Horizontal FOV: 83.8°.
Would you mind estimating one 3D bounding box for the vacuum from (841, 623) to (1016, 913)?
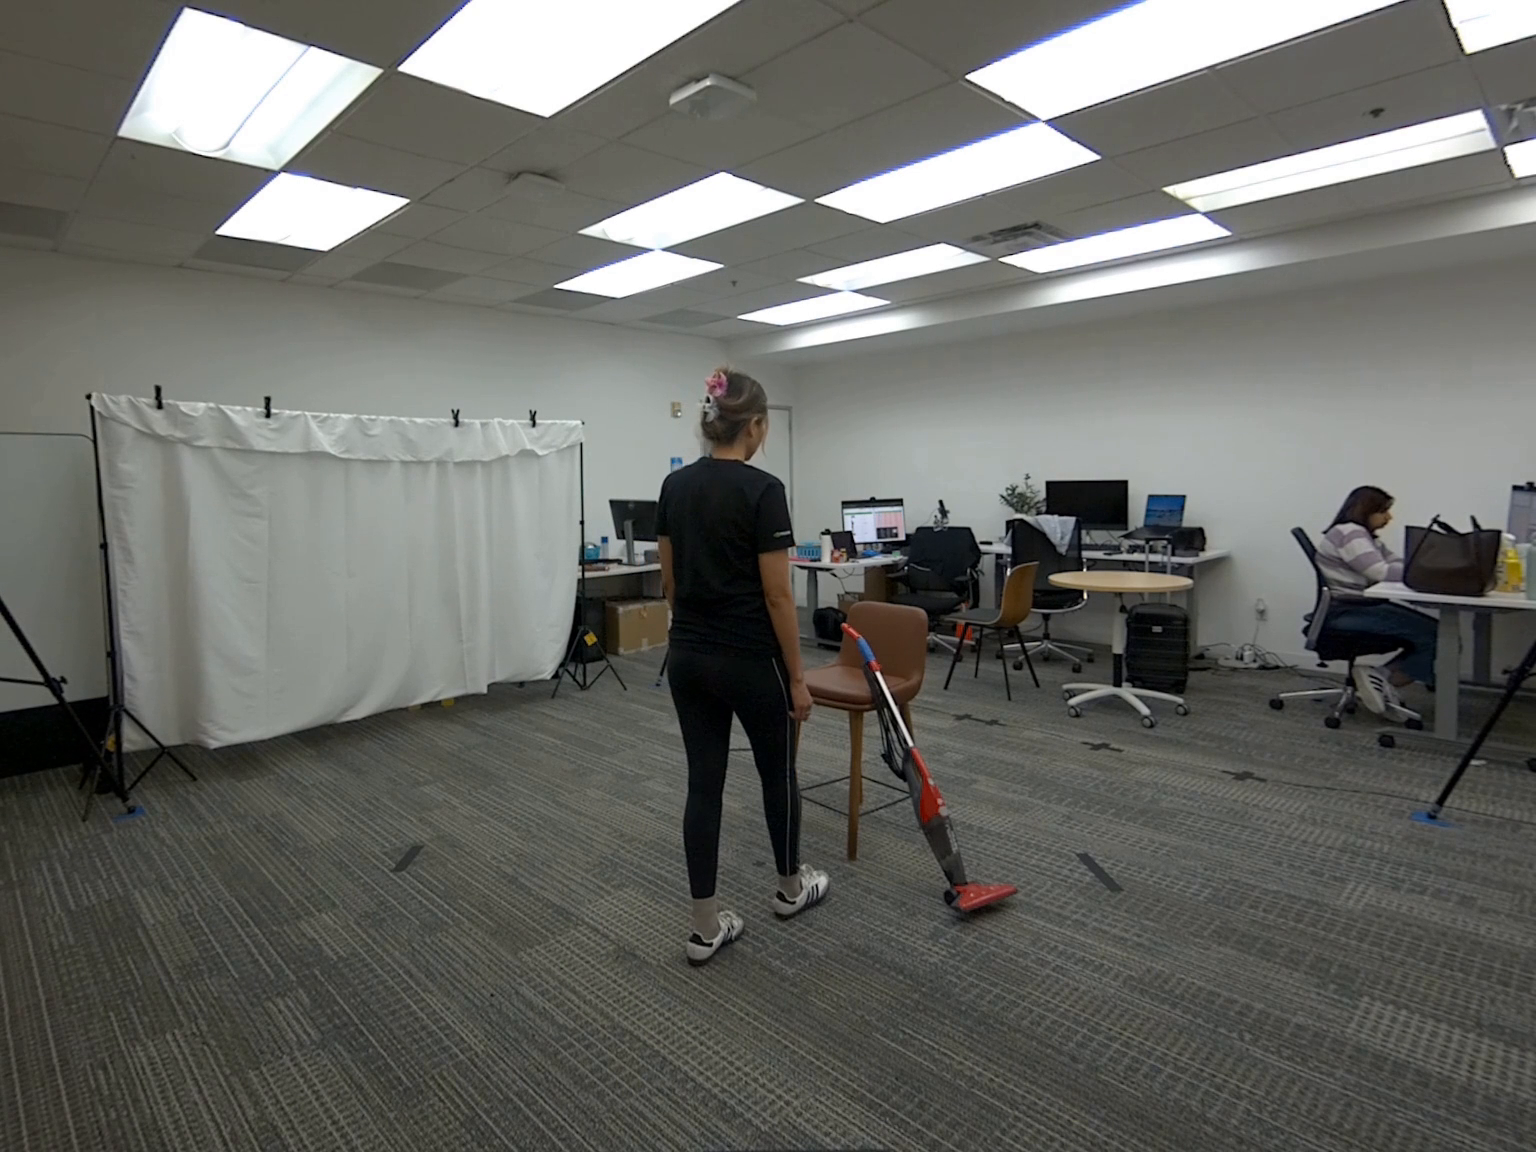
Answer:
[{"bbox_3d":[0.496,0.629,3.019,0.245,1.083,0.143,1,-38,-37],"label":"vacuum"}]
